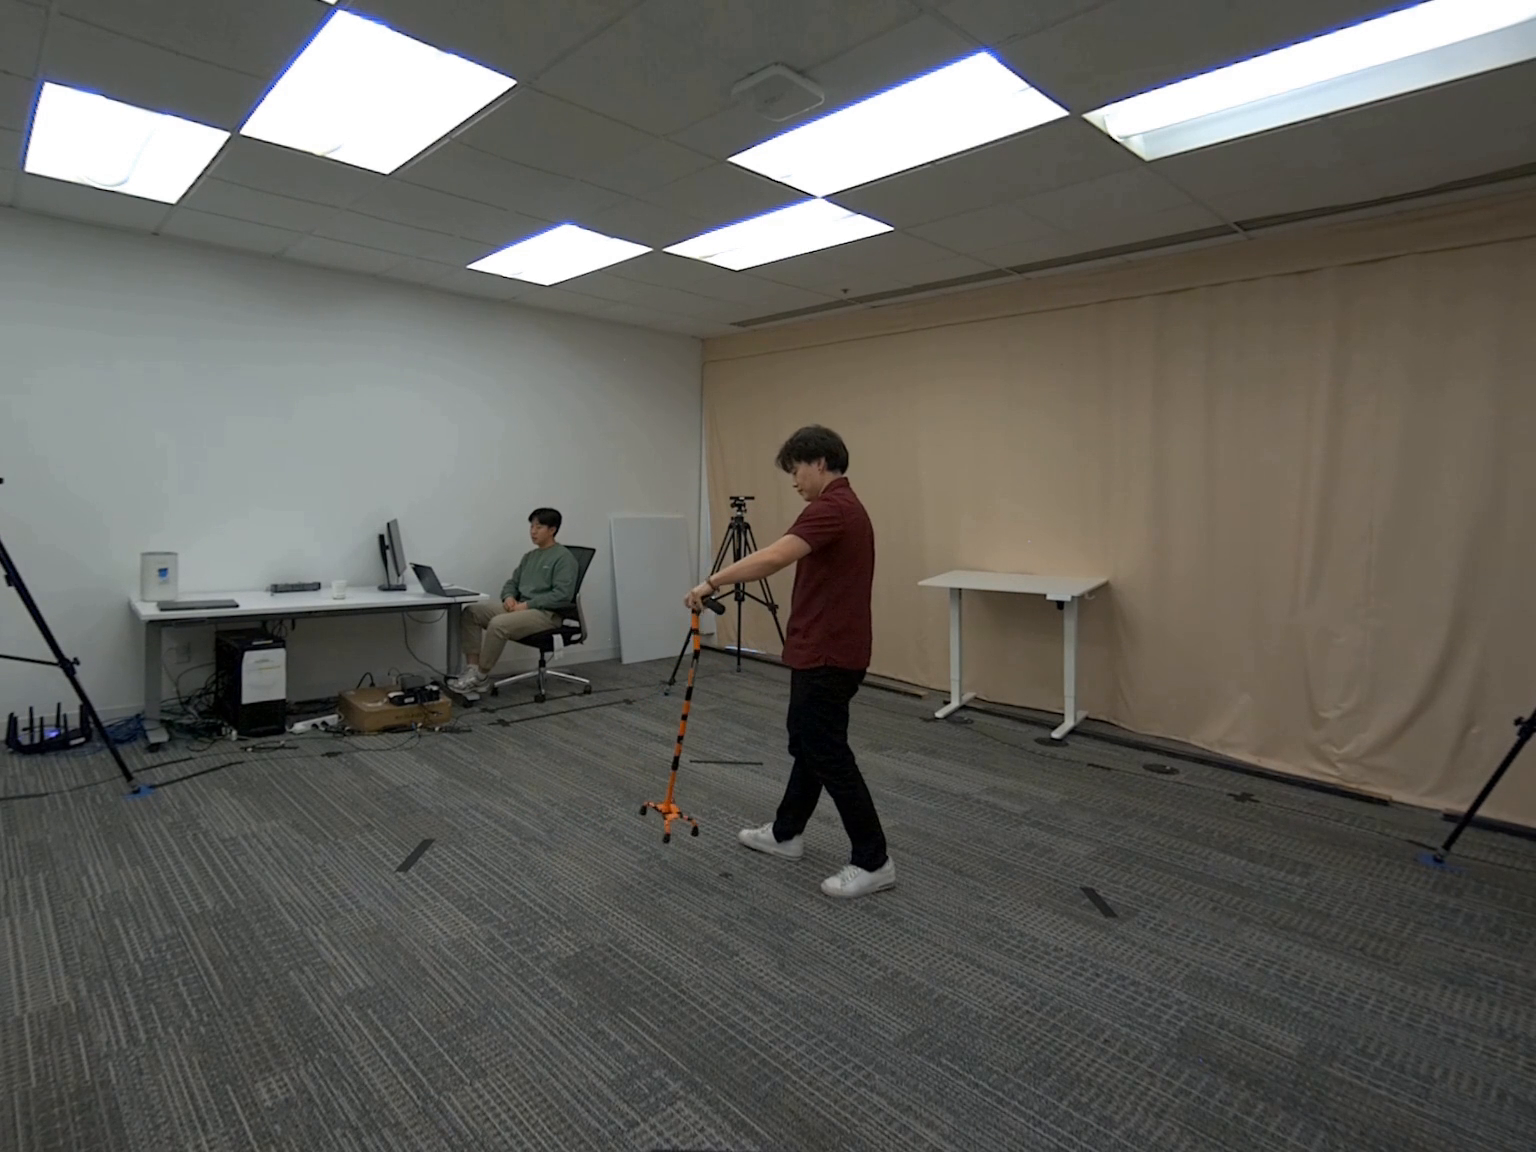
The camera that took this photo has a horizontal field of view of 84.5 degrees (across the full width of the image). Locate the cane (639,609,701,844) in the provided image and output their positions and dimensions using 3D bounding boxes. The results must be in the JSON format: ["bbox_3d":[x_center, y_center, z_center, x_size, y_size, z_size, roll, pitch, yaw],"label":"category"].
[{"bbox_3d":[-0.288,0.494,2.998,0.148,0.900,0.212,1,16,-31],"label":"cane"}]
